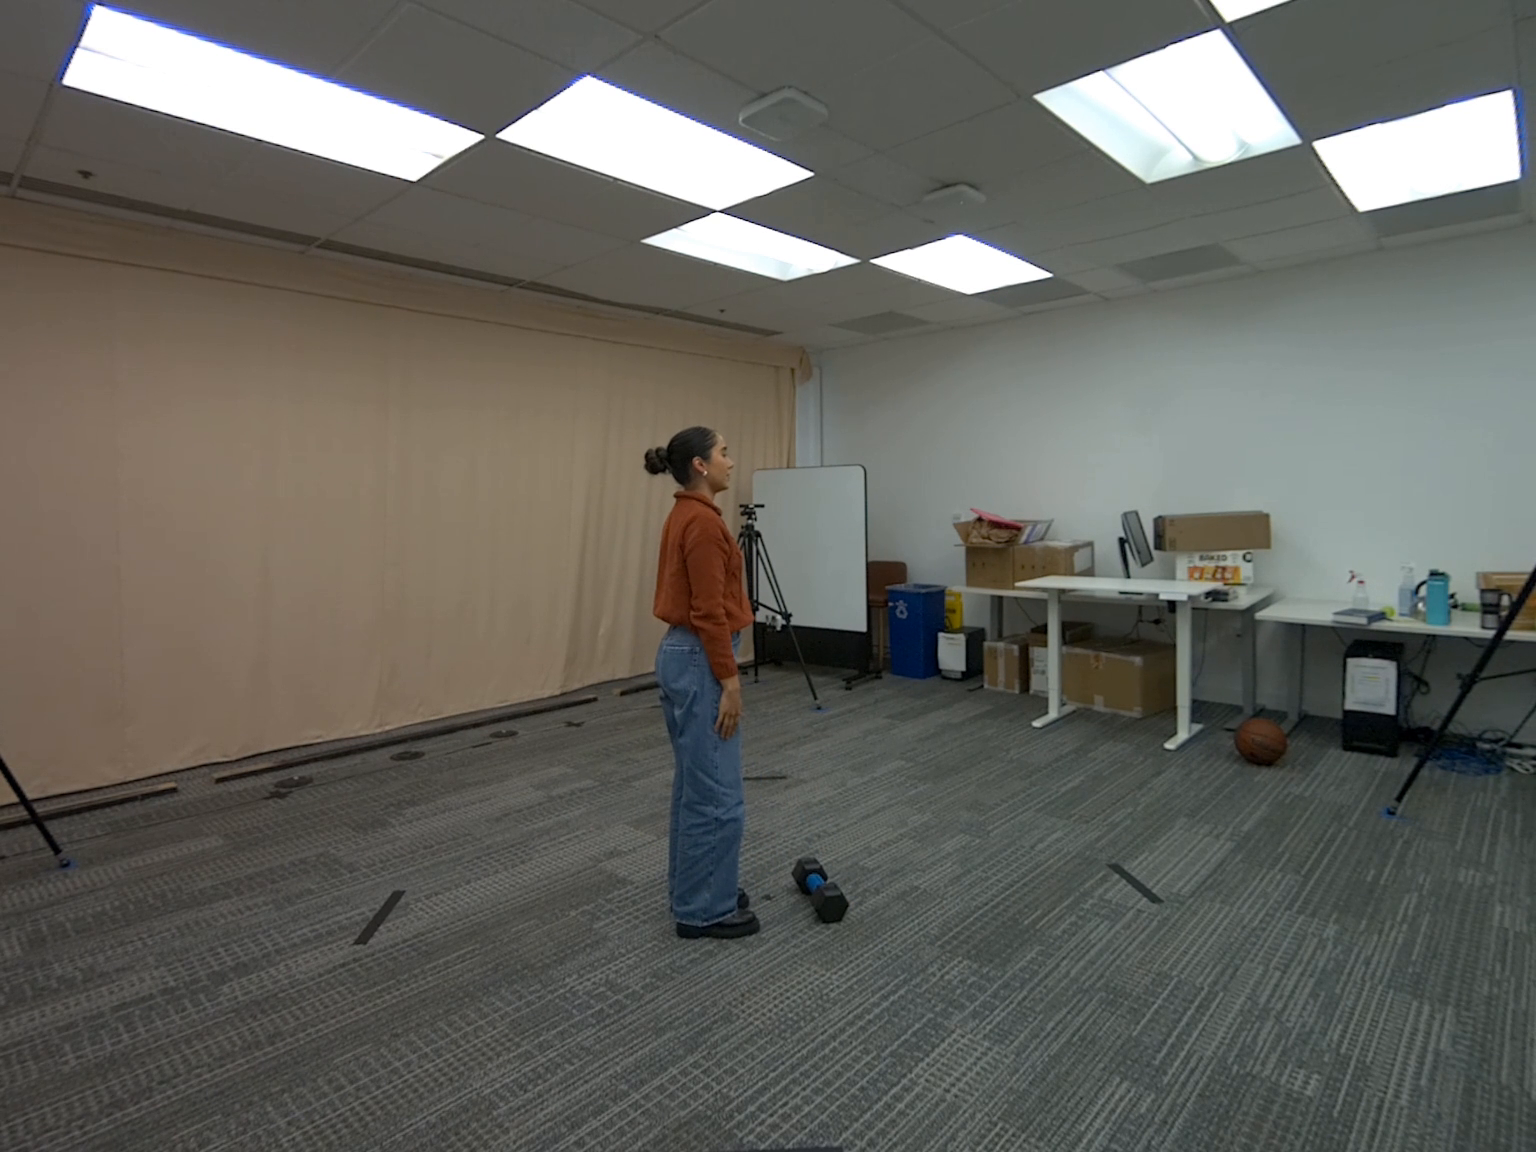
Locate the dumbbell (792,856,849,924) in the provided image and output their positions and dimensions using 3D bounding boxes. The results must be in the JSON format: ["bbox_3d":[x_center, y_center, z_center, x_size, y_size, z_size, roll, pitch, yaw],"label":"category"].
[{"bbox_3d":[0.181,1.087,2.923,0.121,0.108,0.298,-4,5,-13],"label":"dumbbell"}]
